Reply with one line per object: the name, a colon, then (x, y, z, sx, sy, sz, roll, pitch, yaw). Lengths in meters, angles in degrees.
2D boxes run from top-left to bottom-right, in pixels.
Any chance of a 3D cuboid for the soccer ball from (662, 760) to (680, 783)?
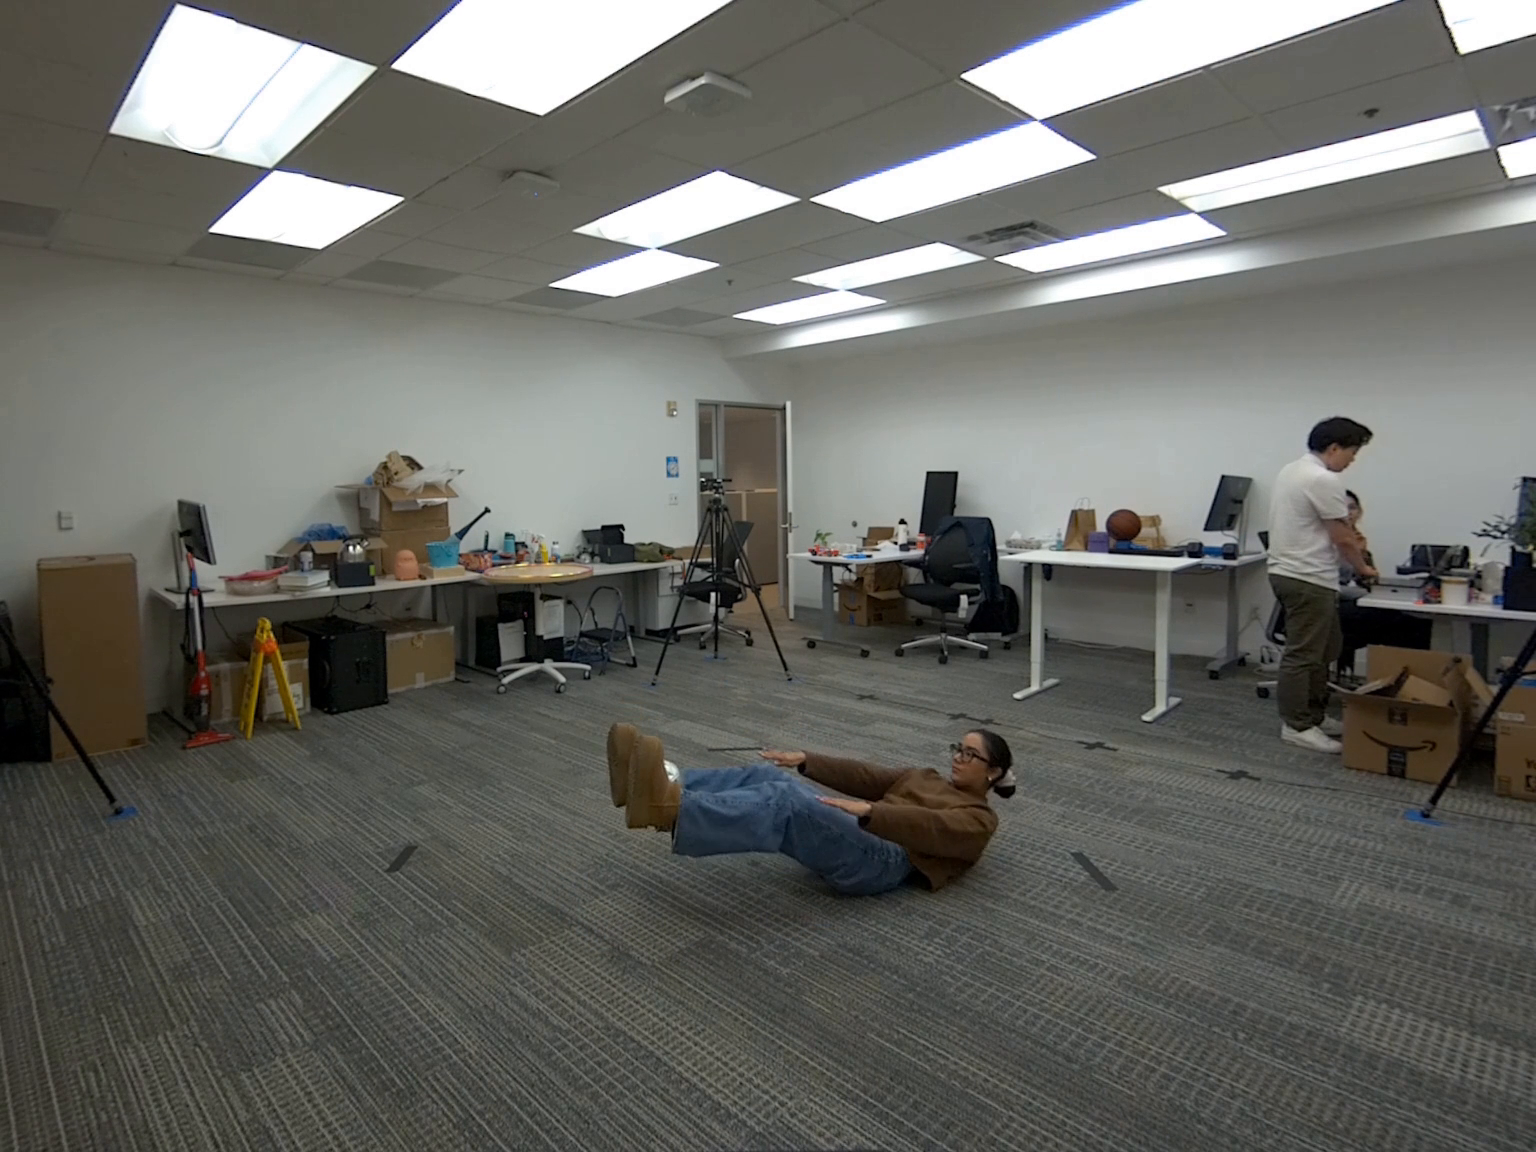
soccer ball: (-0.337, 0.677, 2.732, 0.187, 0.187, 0.188, -1, 5, -2)
